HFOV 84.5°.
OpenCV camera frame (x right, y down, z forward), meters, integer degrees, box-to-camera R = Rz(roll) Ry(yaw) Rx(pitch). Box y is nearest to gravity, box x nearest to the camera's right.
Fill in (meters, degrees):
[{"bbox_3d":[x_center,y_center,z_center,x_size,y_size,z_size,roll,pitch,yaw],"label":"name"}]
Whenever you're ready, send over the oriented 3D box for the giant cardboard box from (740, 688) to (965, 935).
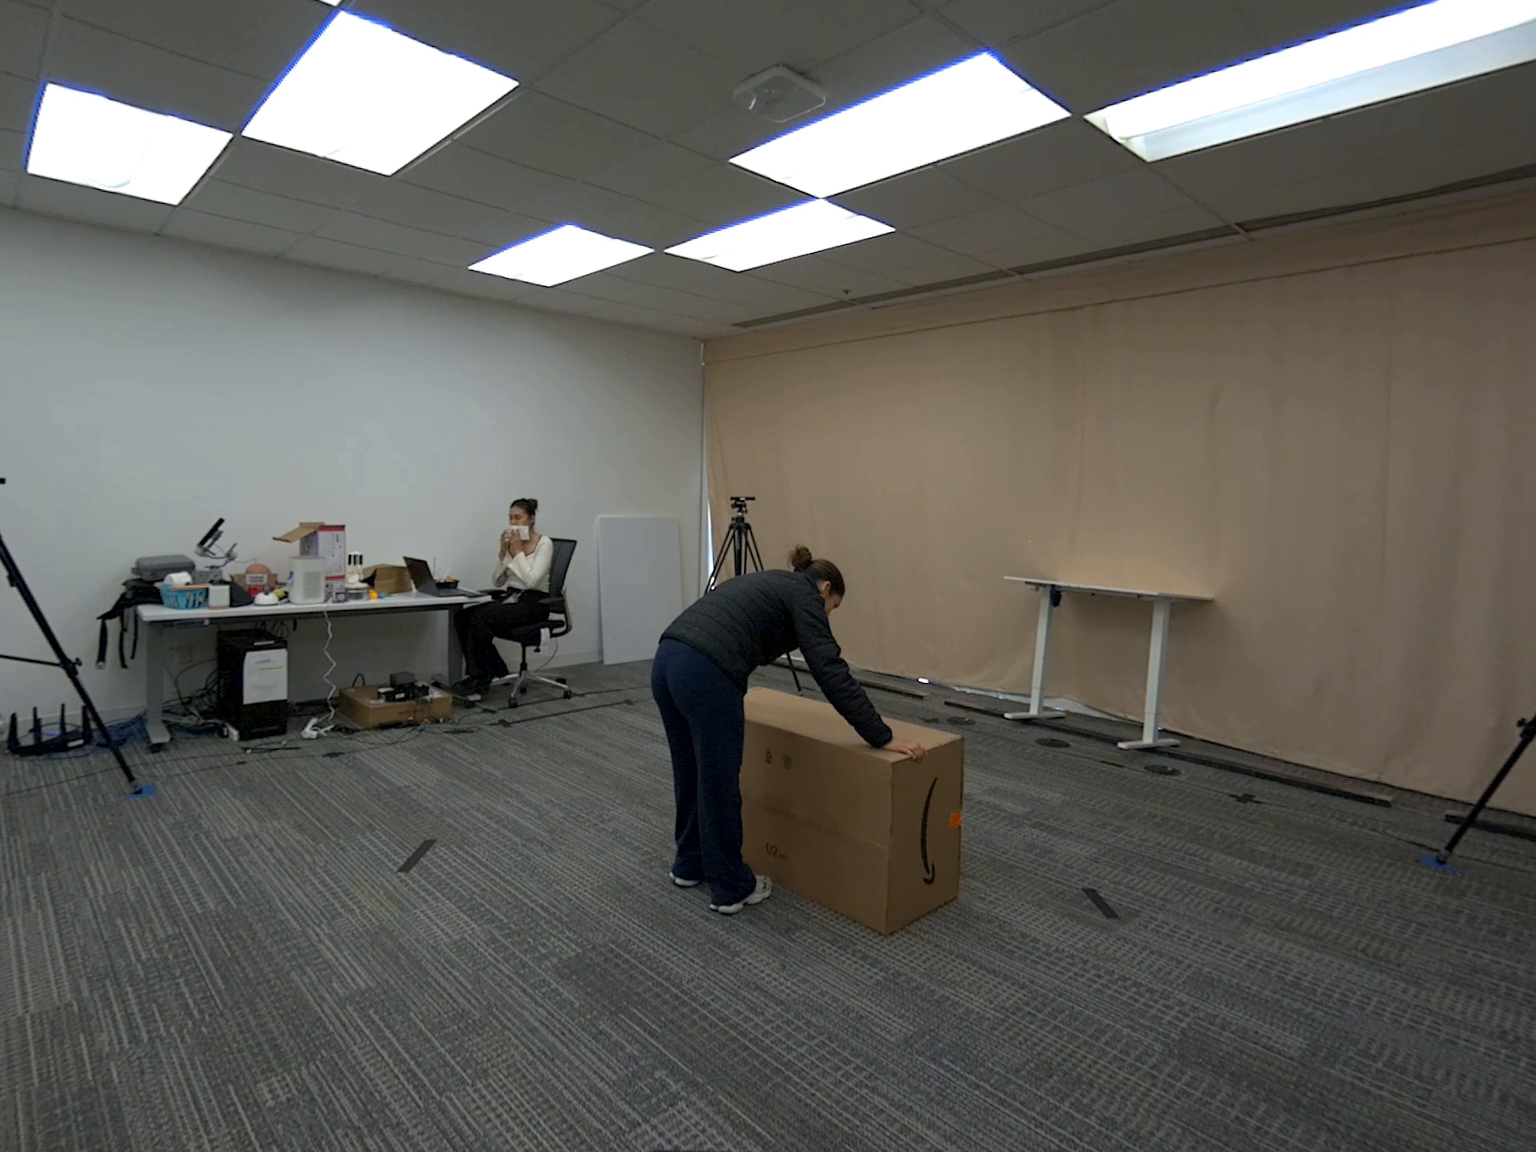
[{"bbox_3d":[0.168,0.821,3.185,0.437,0.582,1.053,-5,7,-43],"label":"giant cardboard box"}]
